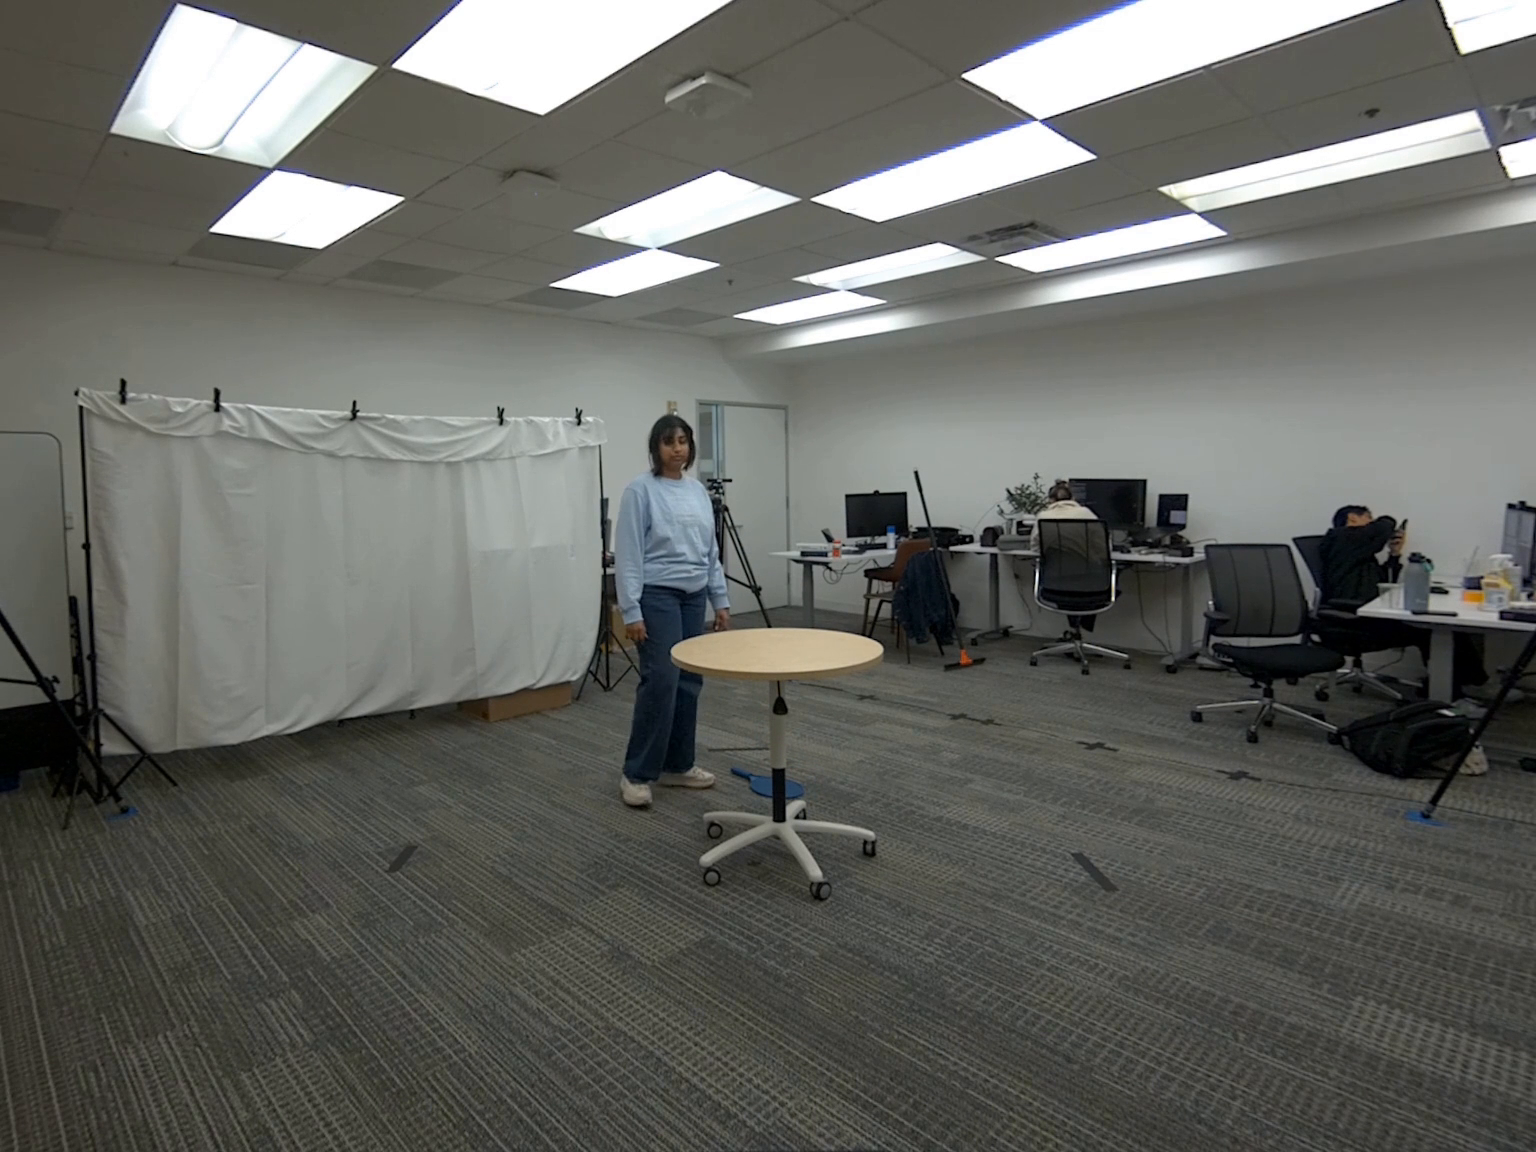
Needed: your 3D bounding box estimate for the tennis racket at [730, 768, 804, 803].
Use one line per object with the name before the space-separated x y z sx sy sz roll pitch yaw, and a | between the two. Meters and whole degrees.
tennis racket | -0.022 0.937 3.897 0.208 0.031 0.447 -5 9 -43
